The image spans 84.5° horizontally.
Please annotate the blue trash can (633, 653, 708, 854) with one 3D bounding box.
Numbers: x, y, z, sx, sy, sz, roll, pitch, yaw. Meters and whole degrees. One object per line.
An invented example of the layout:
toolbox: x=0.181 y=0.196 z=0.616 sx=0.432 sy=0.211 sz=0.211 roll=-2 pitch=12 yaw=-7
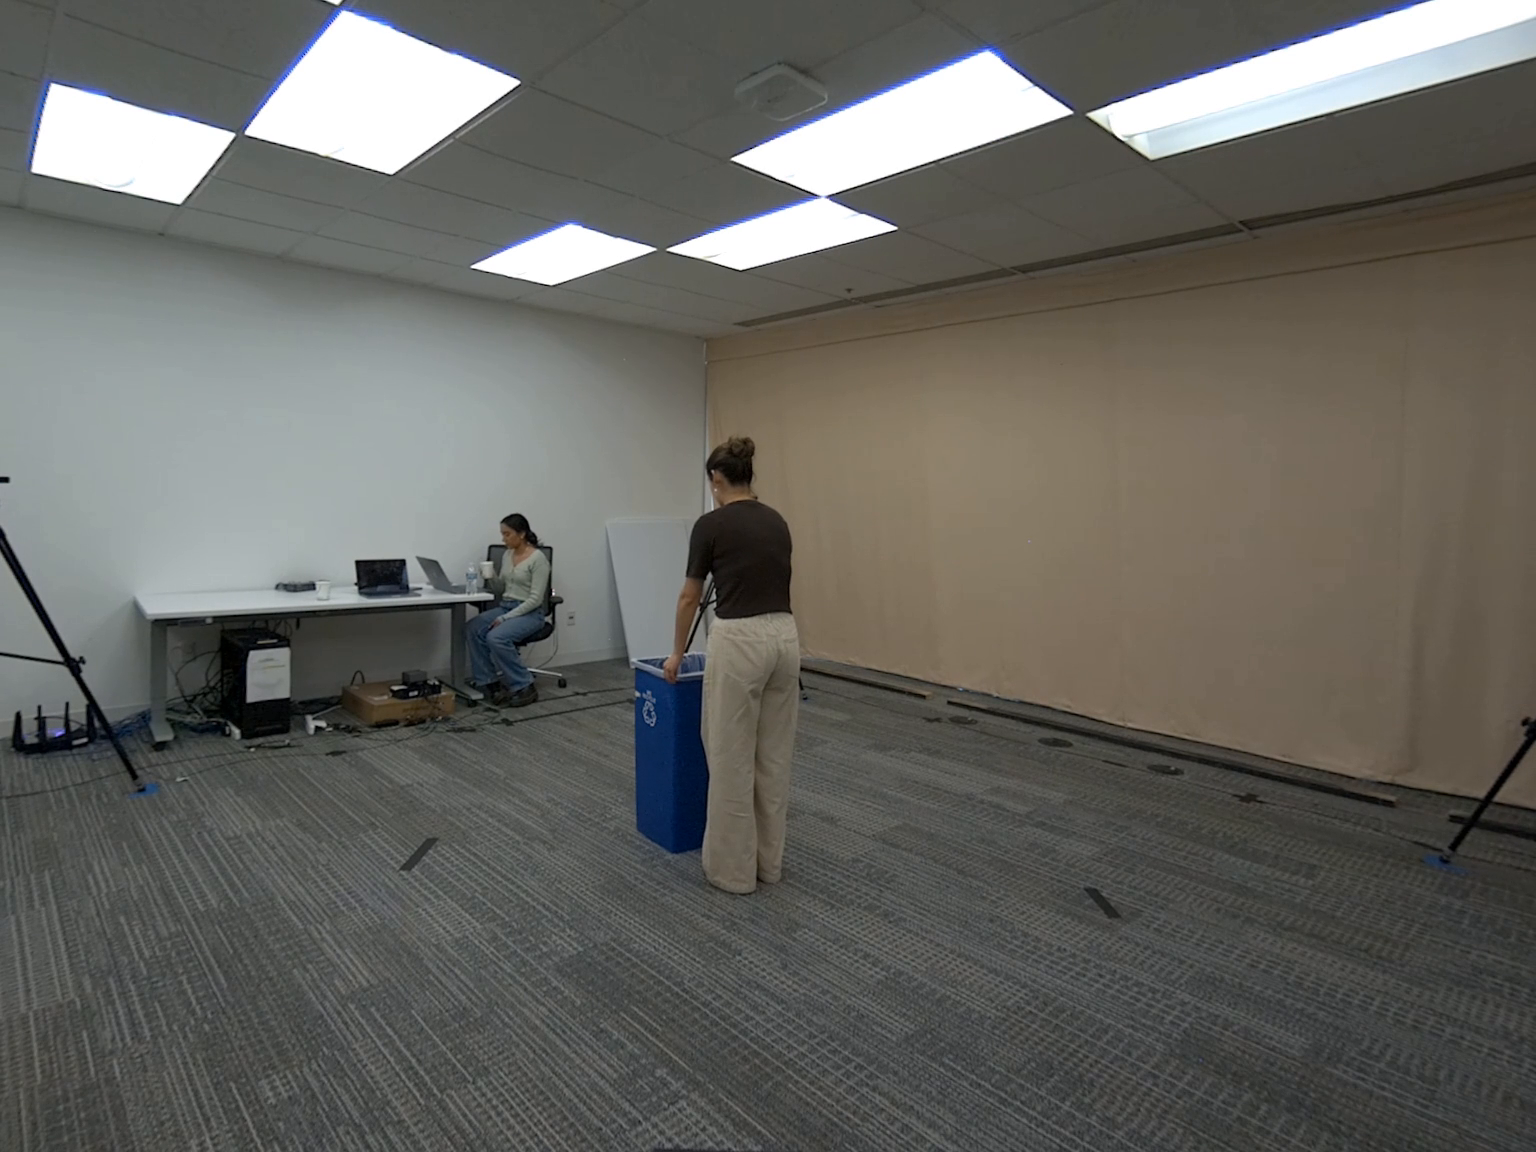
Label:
blue trash can: x=-0.334 y=0.709 z=3.453 sx=0.369 sy=0.712 sz=0.383 roll=-1 pitch=4 yaw=-37
